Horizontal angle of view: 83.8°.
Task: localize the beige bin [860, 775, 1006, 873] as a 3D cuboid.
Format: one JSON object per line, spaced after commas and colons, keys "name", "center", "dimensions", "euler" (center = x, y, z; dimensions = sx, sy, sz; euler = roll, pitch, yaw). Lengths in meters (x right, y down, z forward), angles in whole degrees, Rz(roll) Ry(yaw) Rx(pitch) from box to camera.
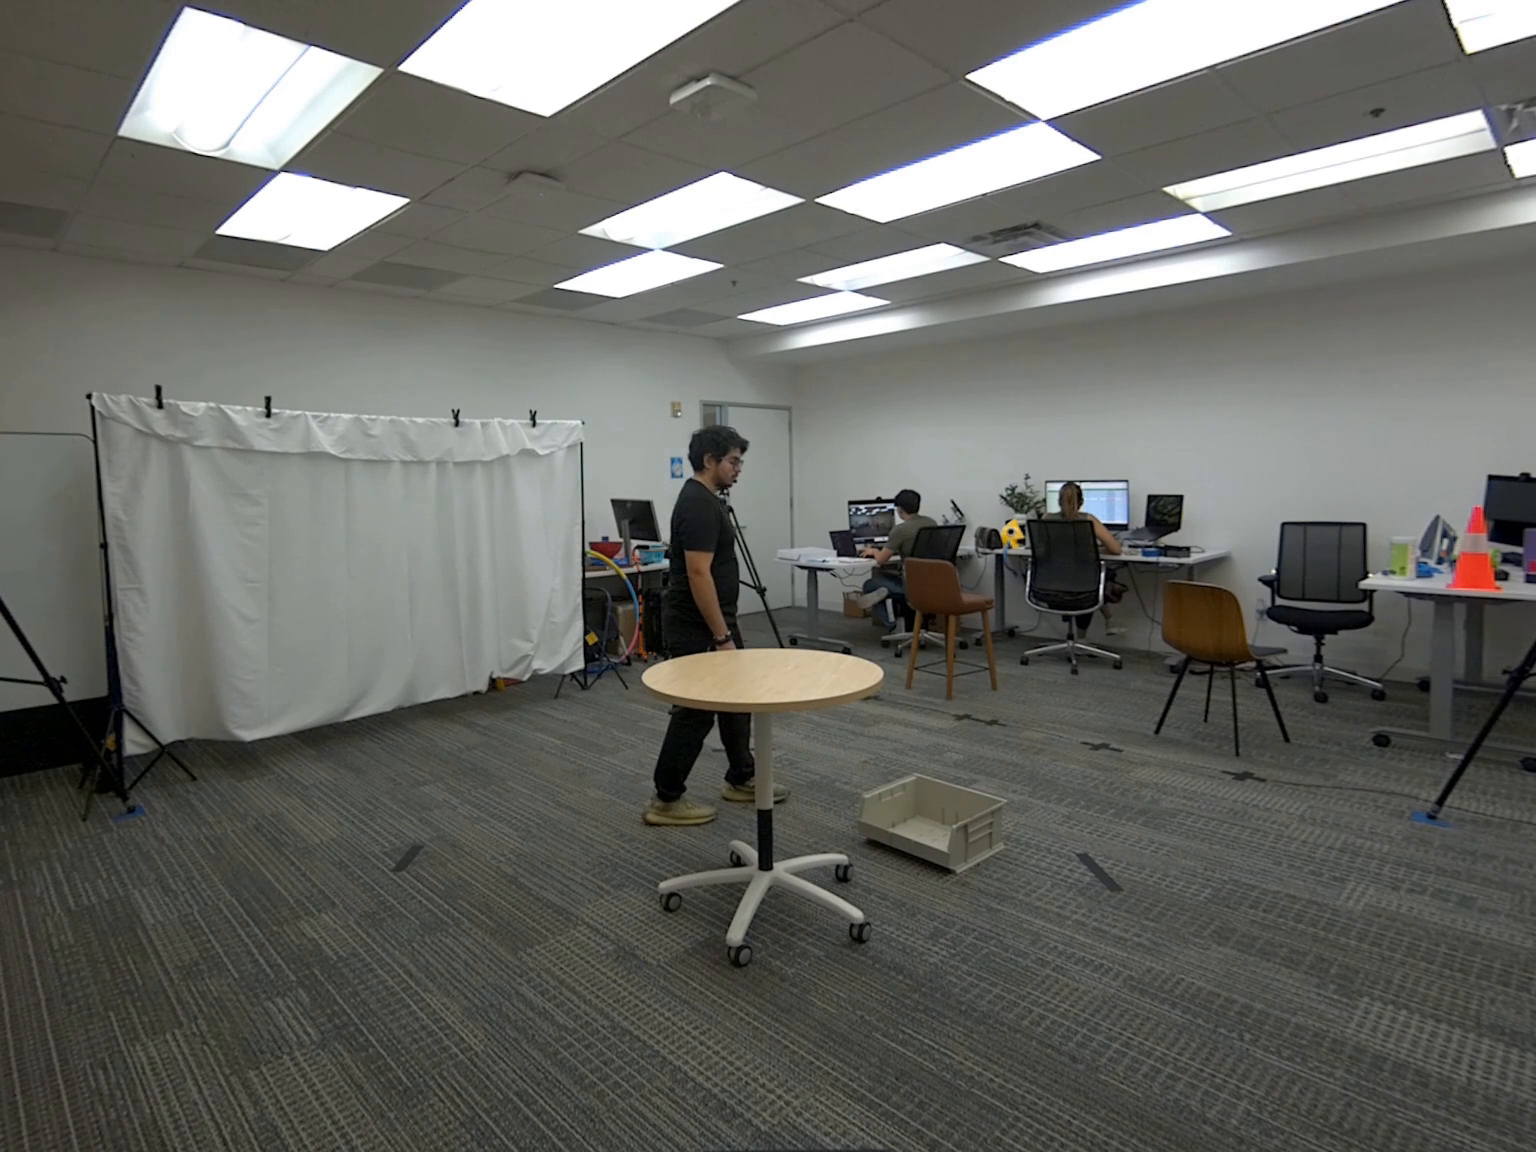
{"name": "beige bin", "center": [0.620, 0.933, 3.235], "dimensions": [0.367, 0.188, 0.435], "euler": [-5, 6, -42]}
